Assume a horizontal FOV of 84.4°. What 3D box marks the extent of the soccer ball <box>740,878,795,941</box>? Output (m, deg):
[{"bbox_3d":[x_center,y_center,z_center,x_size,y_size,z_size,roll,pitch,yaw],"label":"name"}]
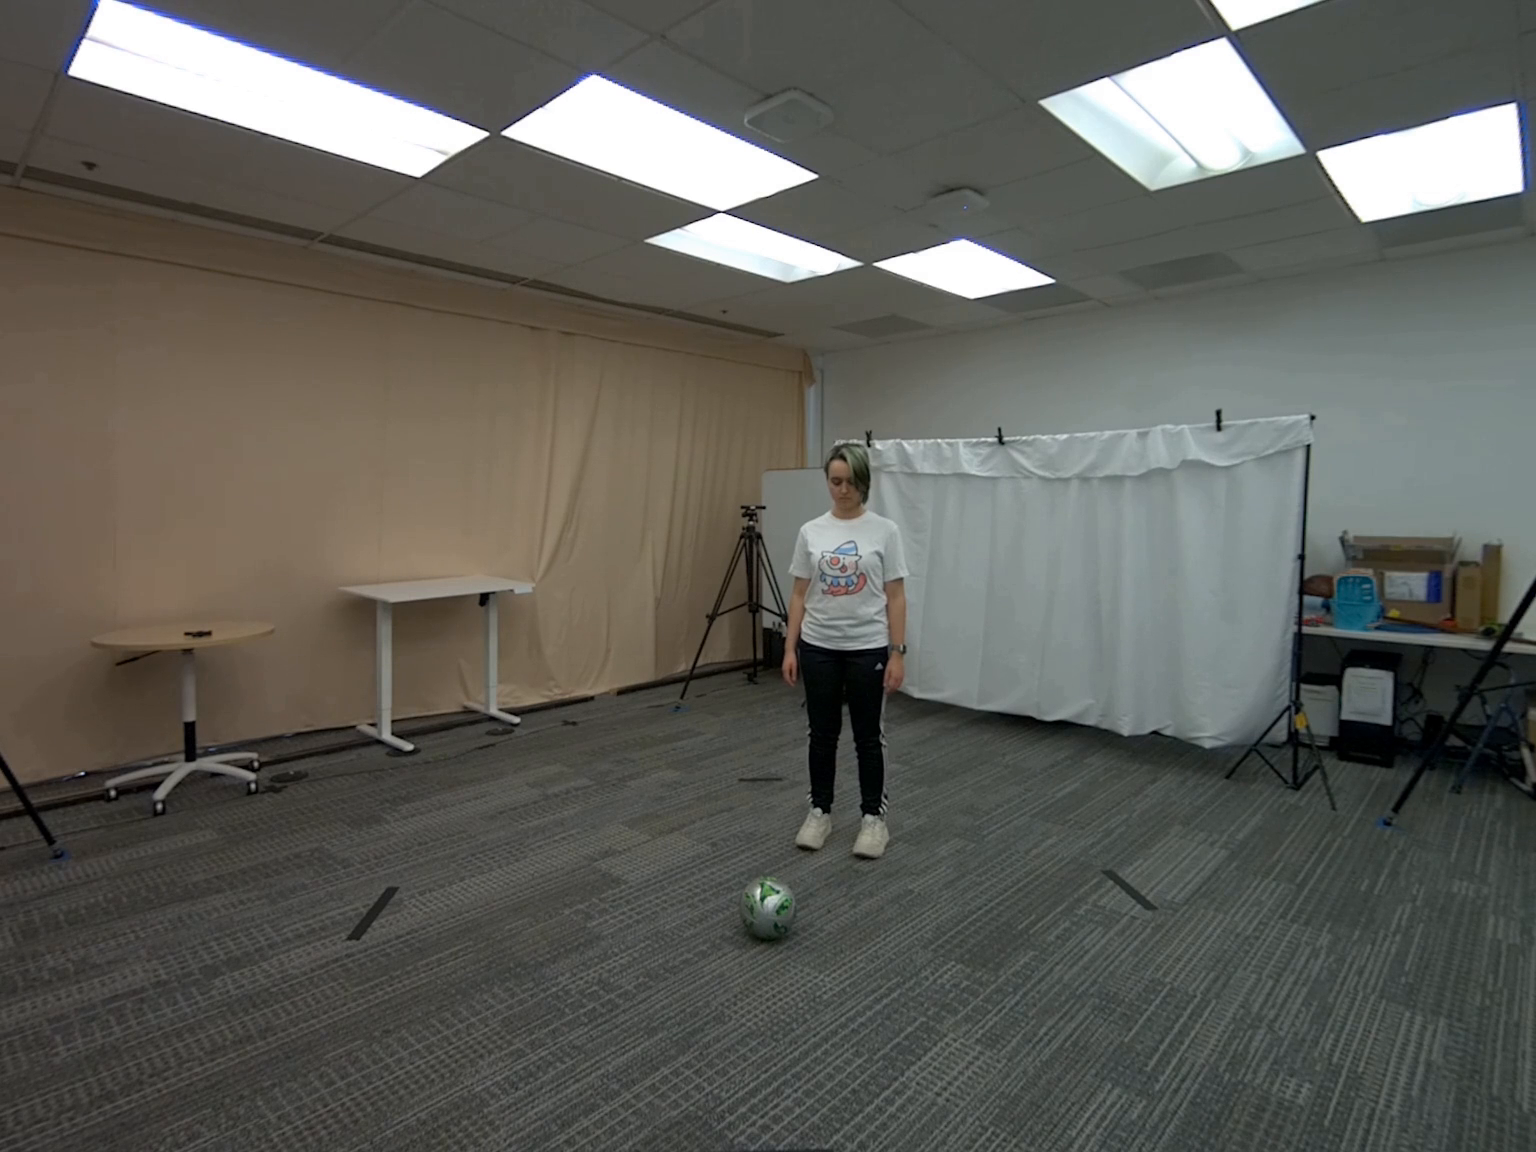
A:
[{"bbox_3d":[0.001,1.071,2.726,0.187,0.187,0.188,0,4,-2],"label":"soccer ball"}]
